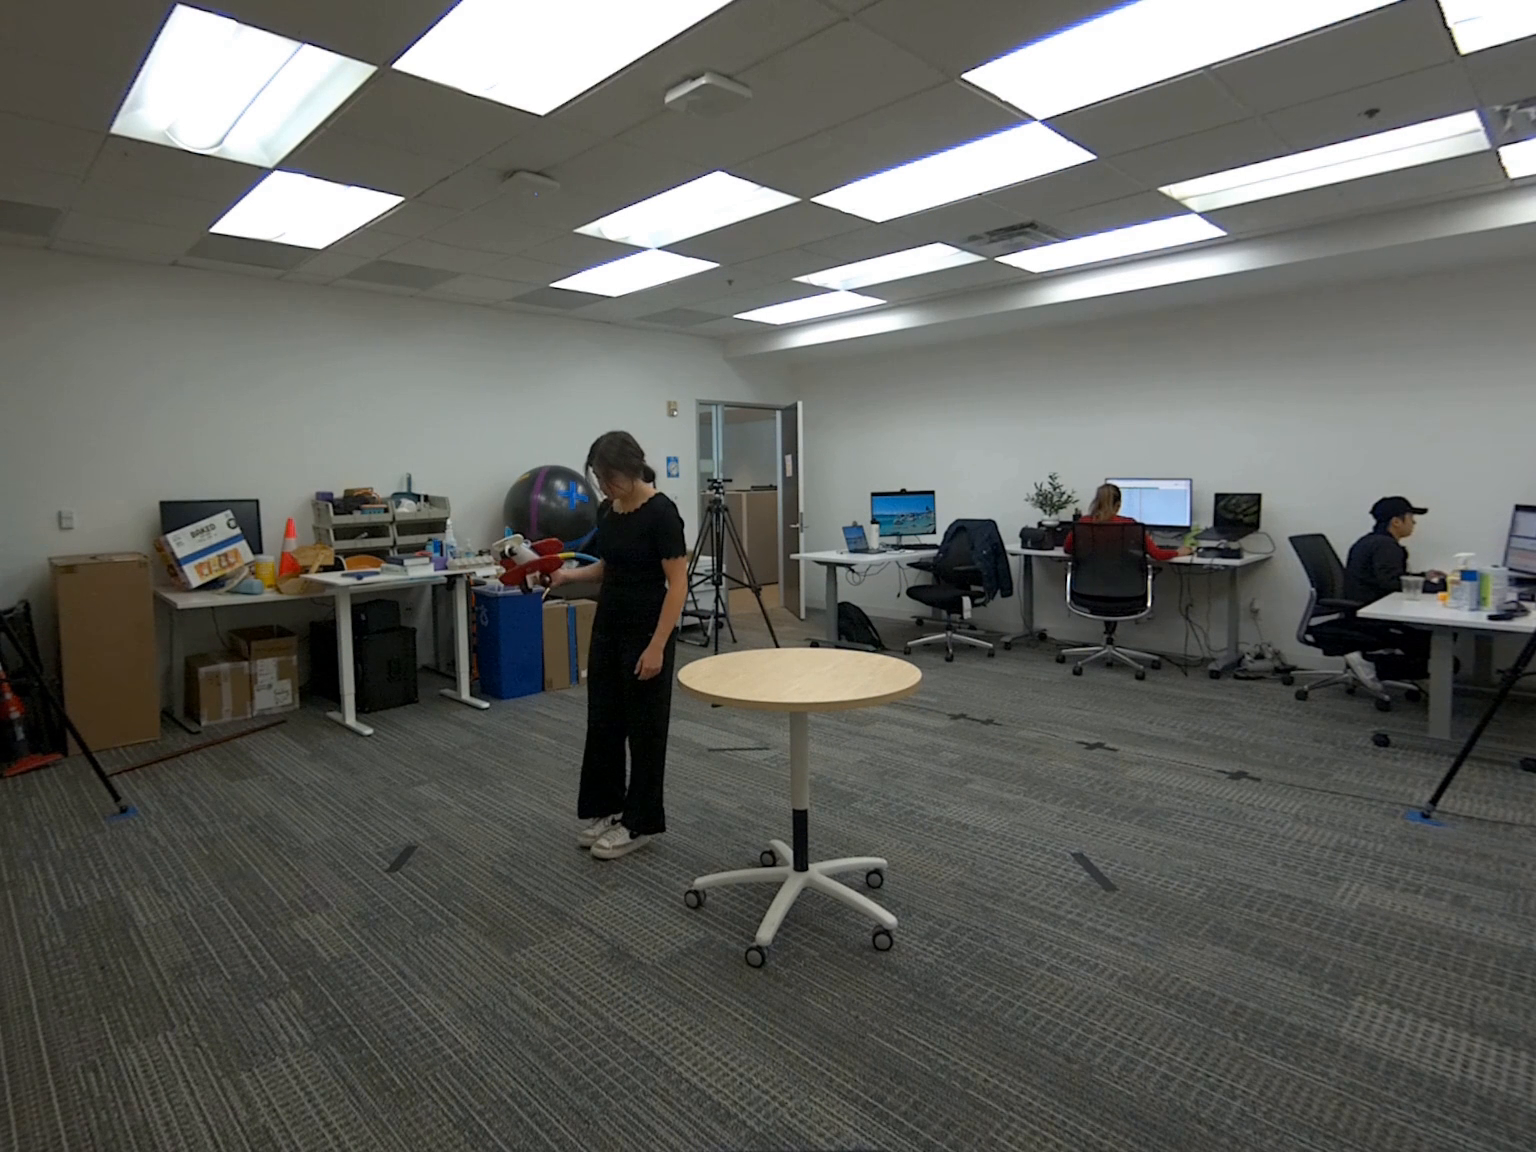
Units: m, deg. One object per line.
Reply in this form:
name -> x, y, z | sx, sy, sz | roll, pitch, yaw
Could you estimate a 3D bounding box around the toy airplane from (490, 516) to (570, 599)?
toy airplane -> -0.865, -0.069, 3.134 | 0.250, 0.253, 0.161 | 1, 40, -6
